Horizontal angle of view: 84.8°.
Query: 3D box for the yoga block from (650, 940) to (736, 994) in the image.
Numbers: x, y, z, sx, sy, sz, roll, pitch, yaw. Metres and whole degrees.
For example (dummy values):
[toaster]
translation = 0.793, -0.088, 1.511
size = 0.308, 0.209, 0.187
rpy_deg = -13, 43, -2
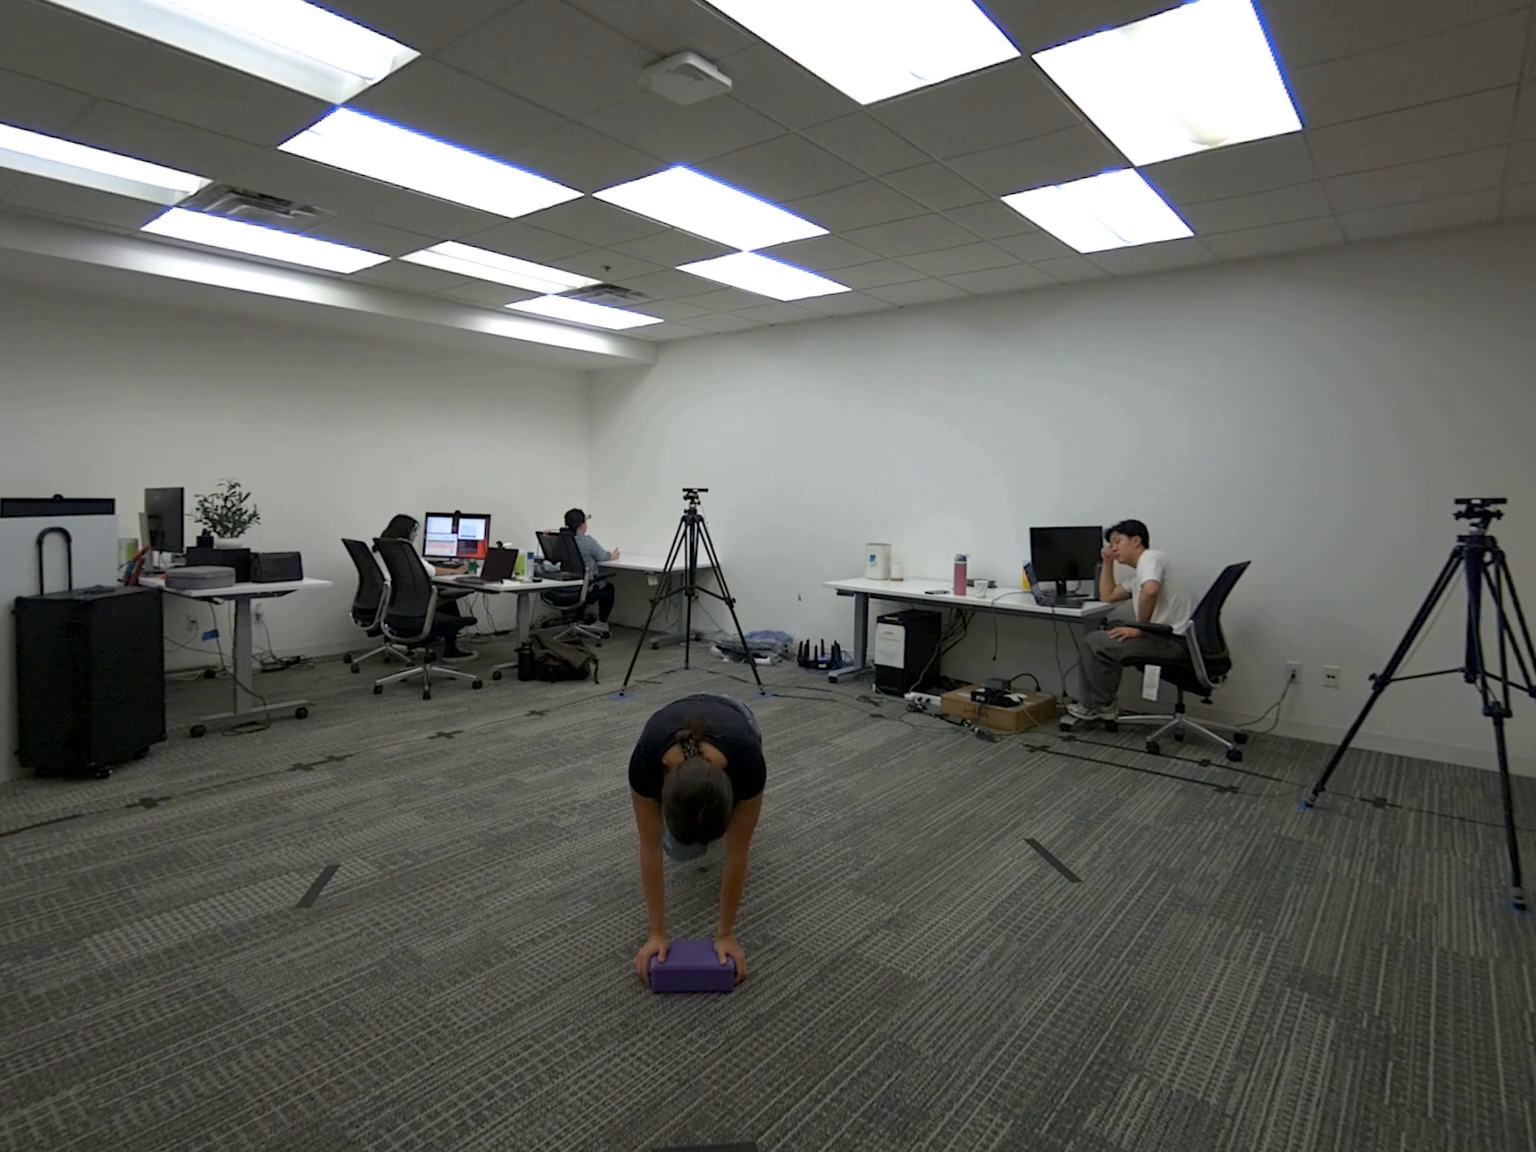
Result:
[yoga block]
translation = -0.217, 1.099, 2.408
size = 0.228, 0.076, 0.150
rpy_deg = 2, 4, -4
